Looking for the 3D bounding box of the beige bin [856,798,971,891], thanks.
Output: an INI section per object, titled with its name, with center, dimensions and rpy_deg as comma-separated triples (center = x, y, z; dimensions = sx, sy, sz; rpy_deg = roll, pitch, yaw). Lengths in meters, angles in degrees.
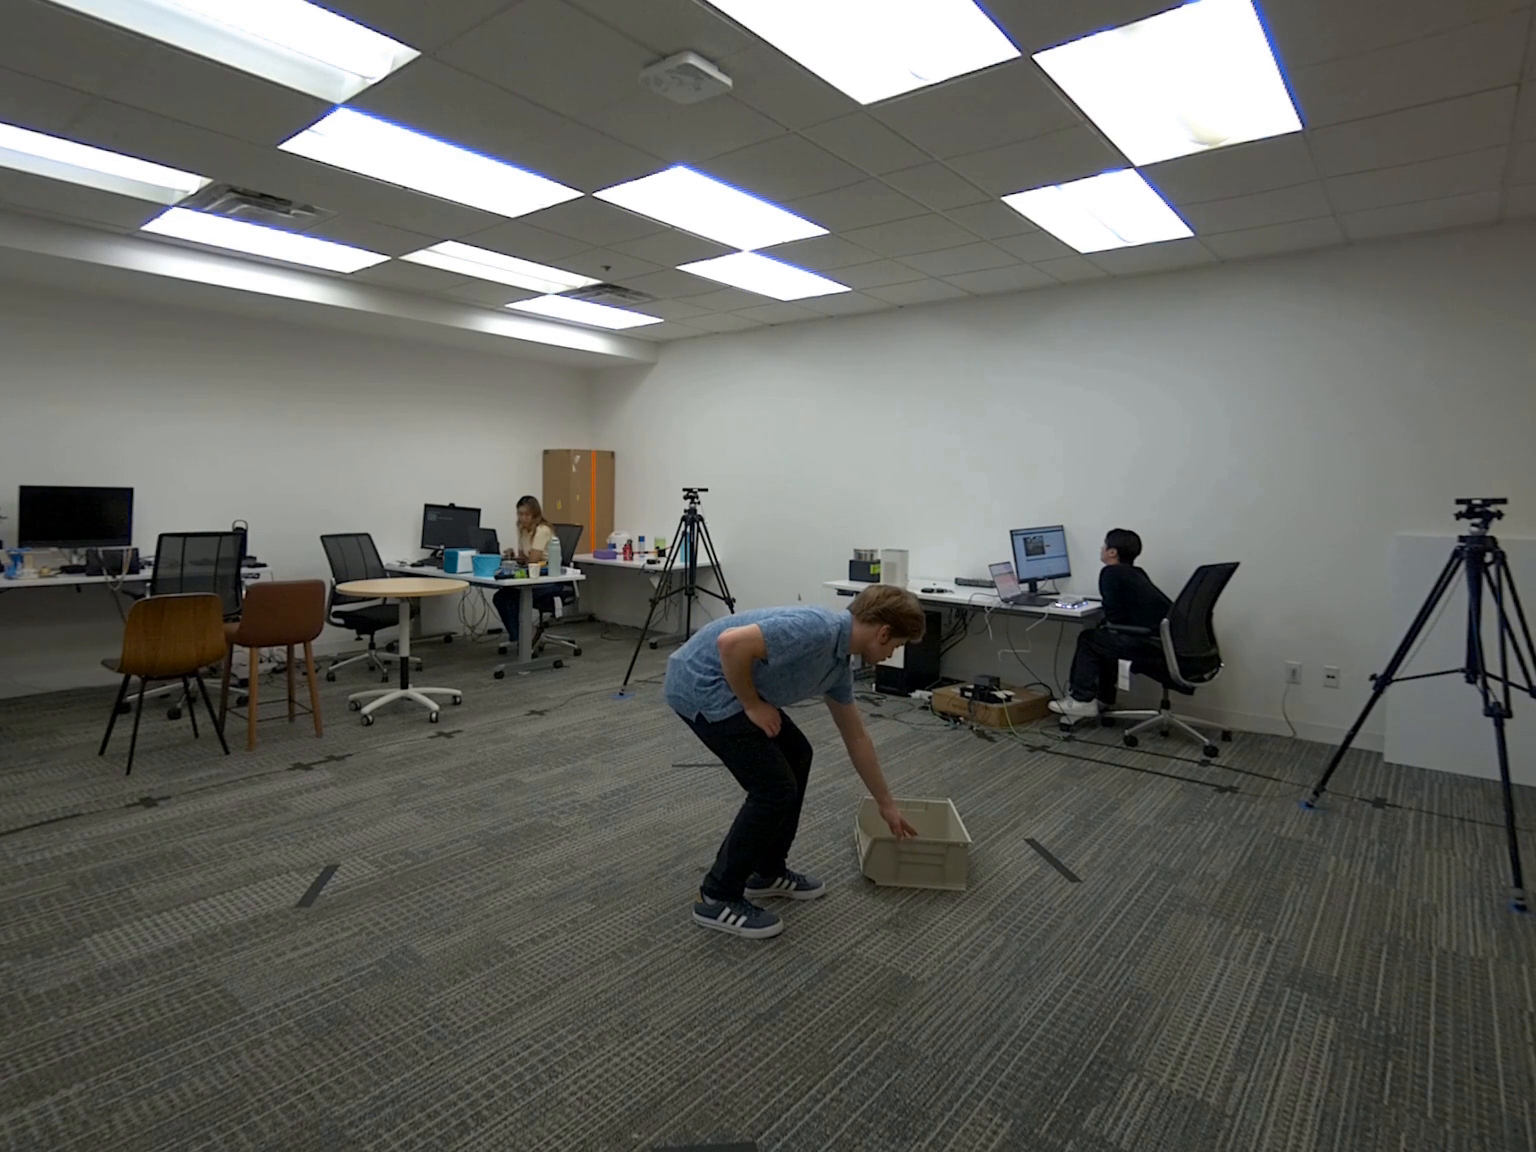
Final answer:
[beige bin]
center = 0.524, 0.988, 3.201
dimensions = 0.379, 0.188, 0.422
rpy_deg = 2, 5, 3
